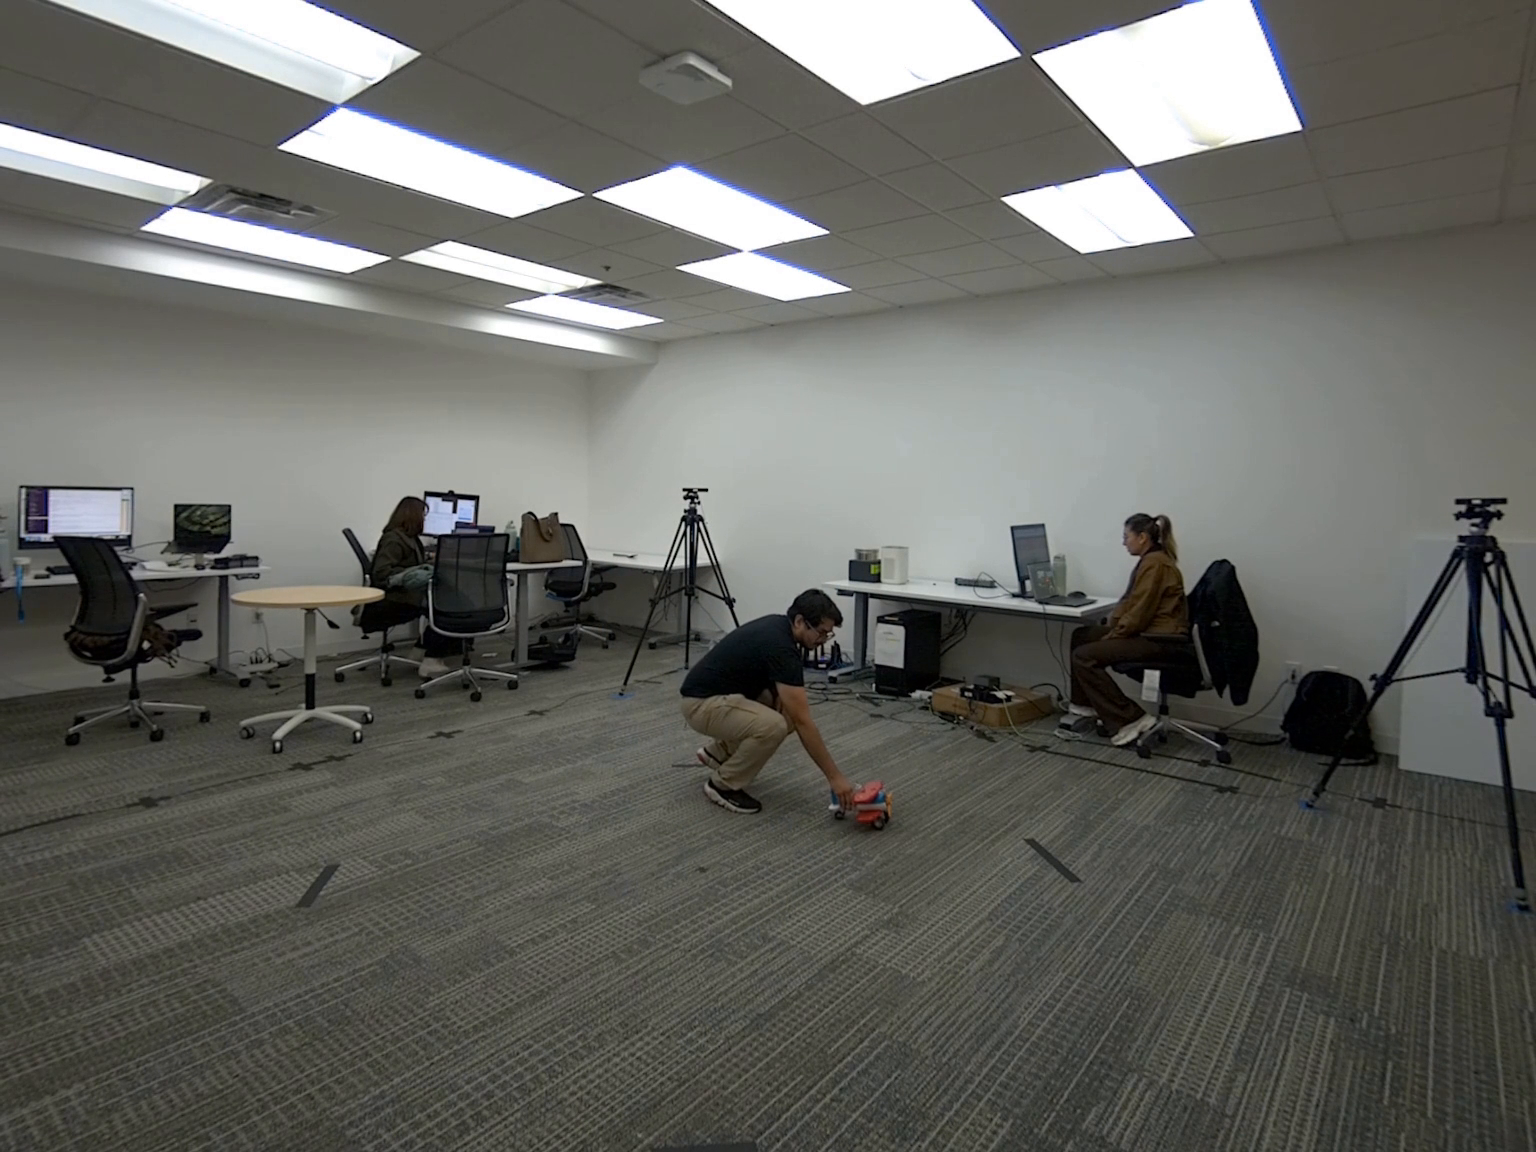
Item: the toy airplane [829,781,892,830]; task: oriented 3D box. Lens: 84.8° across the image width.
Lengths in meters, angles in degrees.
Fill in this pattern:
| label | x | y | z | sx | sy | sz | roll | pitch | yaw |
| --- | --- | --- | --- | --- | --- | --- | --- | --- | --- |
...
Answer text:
| label | x | y | z | sx | sy | sz | roll | pitch | yaw |
| --- | --- | --- | --- | --- | --- | --- | --- | --- | --- |
| toy airplane | 0.382 | 0.963 | 3.573 | 0.258 | 0.156 | 0.253 | 2 | 4 | -6 |
